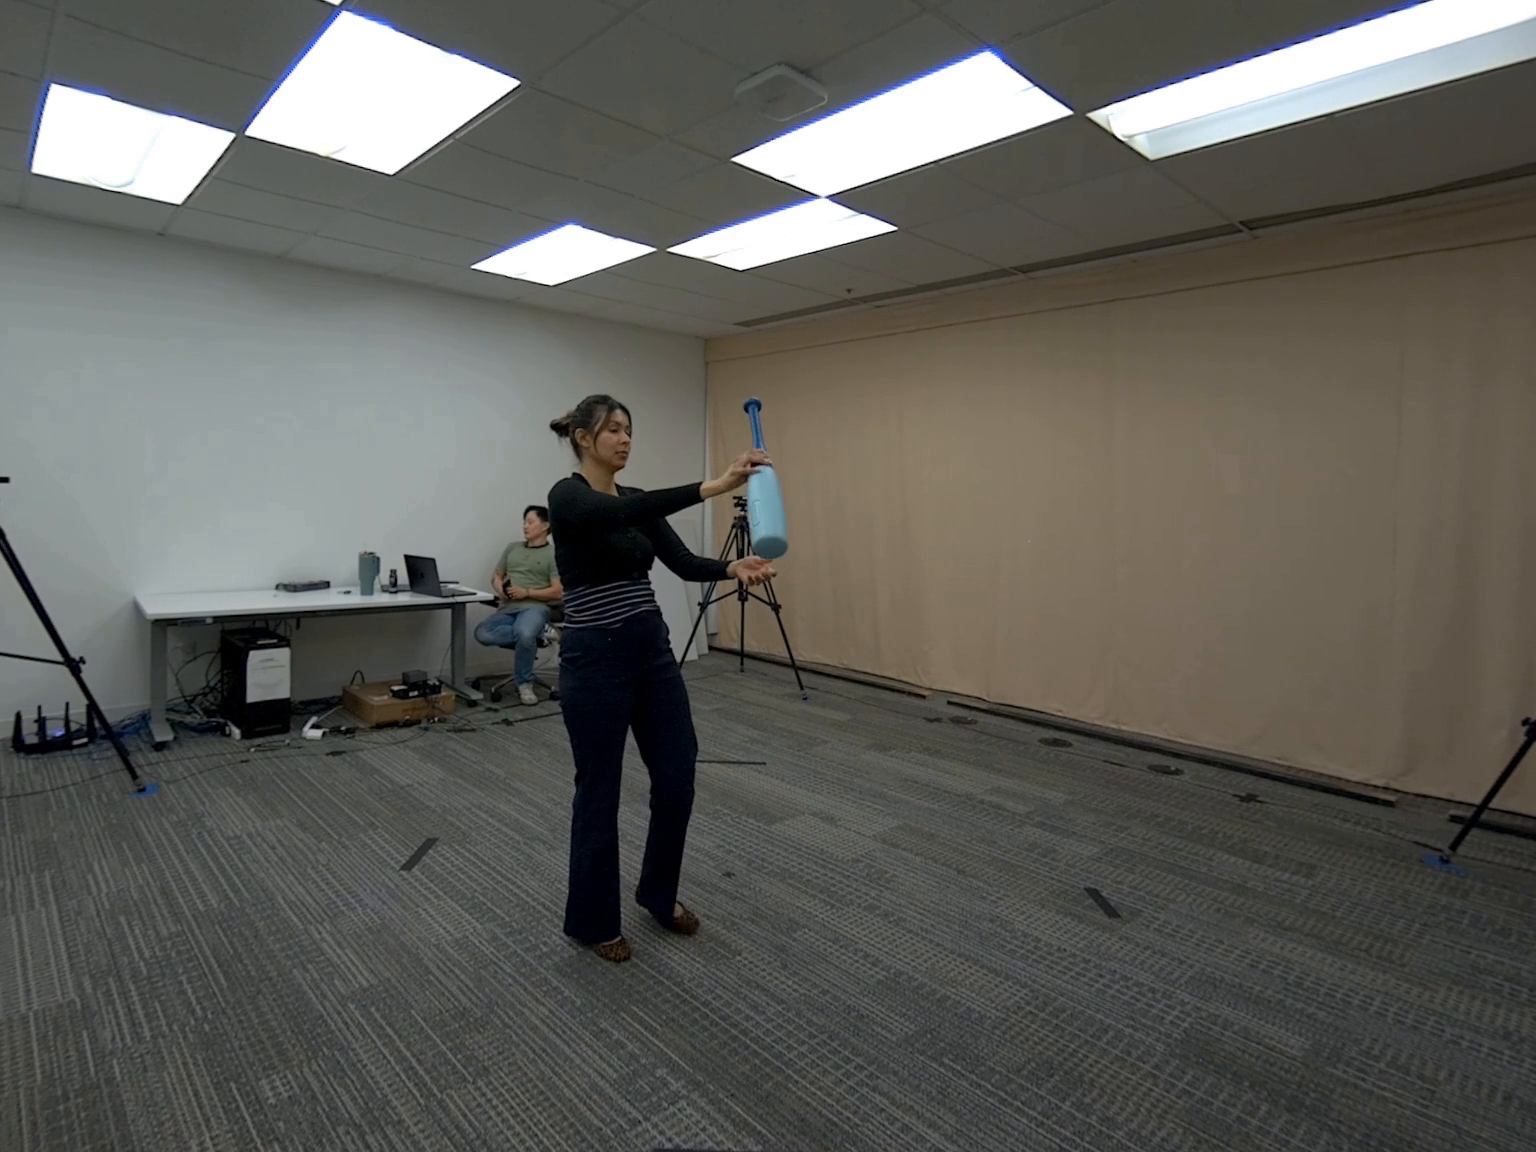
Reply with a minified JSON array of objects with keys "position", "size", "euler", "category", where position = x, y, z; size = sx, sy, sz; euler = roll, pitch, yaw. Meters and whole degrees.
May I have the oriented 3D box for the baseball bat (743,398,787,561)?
[{"position":[-0.024,-0.264,2.105],"size":[0.089,0.555,0.087],"euler":[0,-41,-1],"category":"baseball bat"}]
